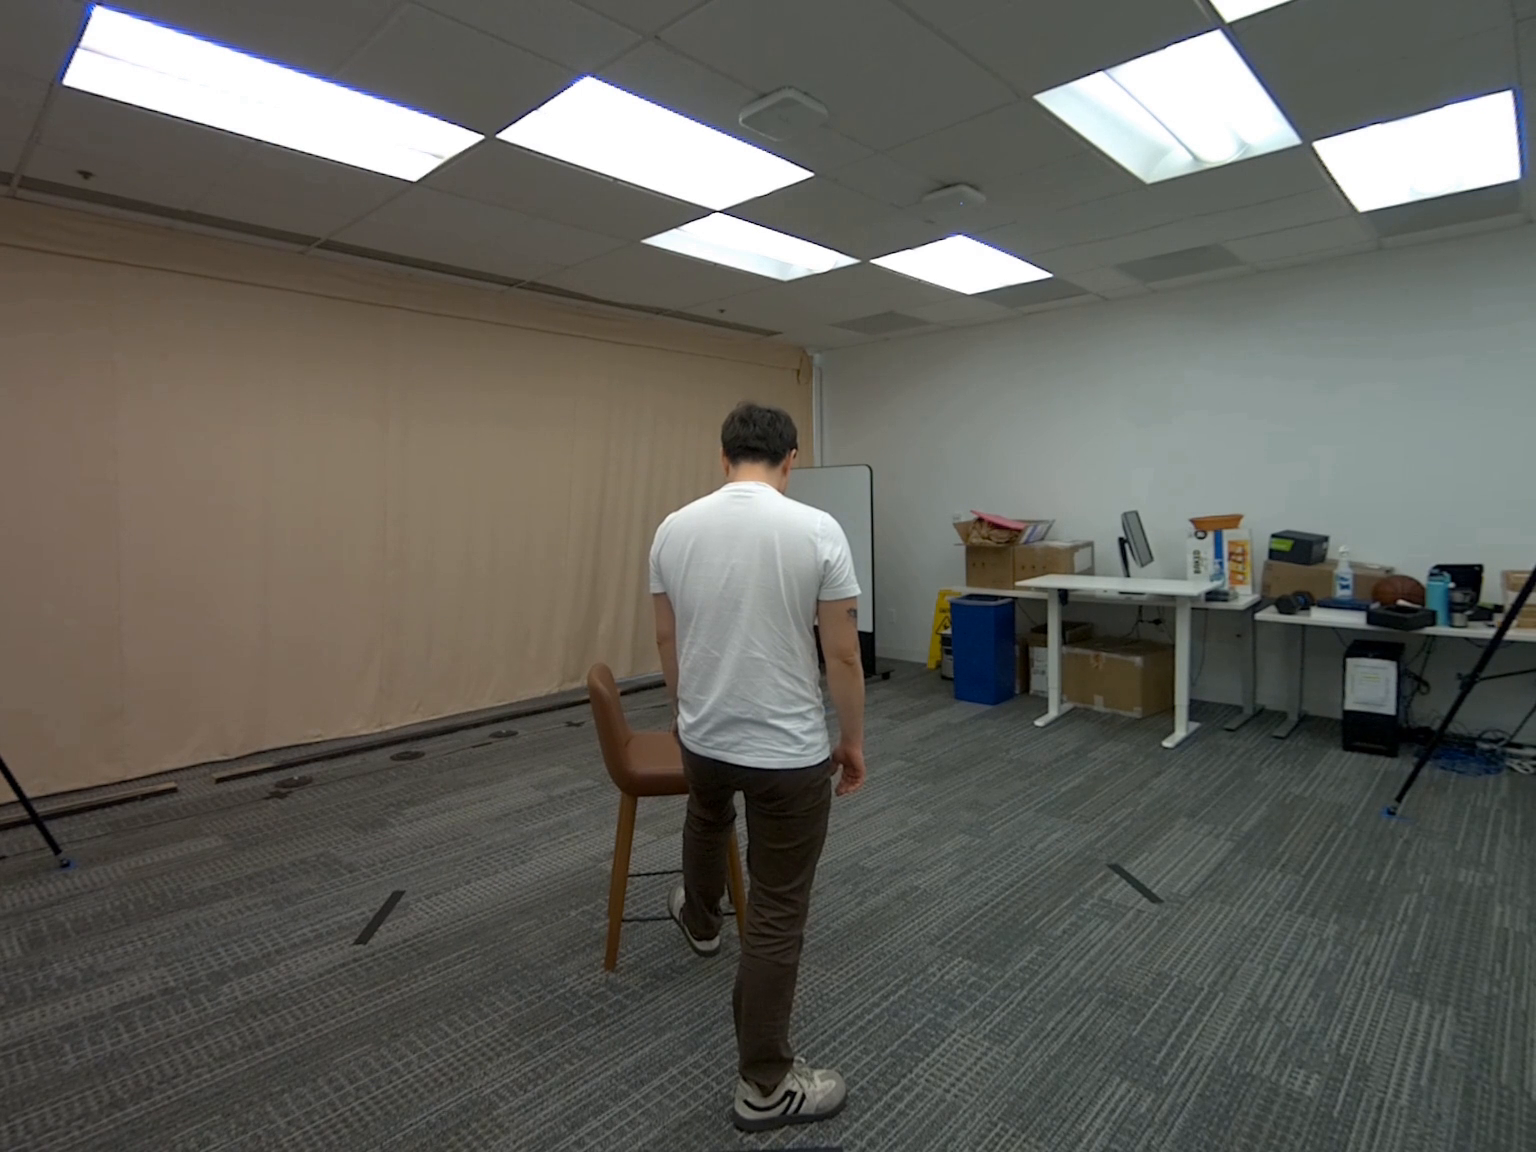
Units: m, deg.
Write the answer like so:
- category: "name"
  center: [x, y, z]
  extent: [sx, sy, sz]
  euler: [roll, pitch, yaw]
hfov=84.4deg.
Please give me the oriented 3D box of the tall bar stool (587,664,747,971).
- category: "tall bar stool"
  center: [-0.314, 0.733, 2.716]
  extent: [0.464, 0.888, 0.461]
  euler: [-3, 3, -8]
